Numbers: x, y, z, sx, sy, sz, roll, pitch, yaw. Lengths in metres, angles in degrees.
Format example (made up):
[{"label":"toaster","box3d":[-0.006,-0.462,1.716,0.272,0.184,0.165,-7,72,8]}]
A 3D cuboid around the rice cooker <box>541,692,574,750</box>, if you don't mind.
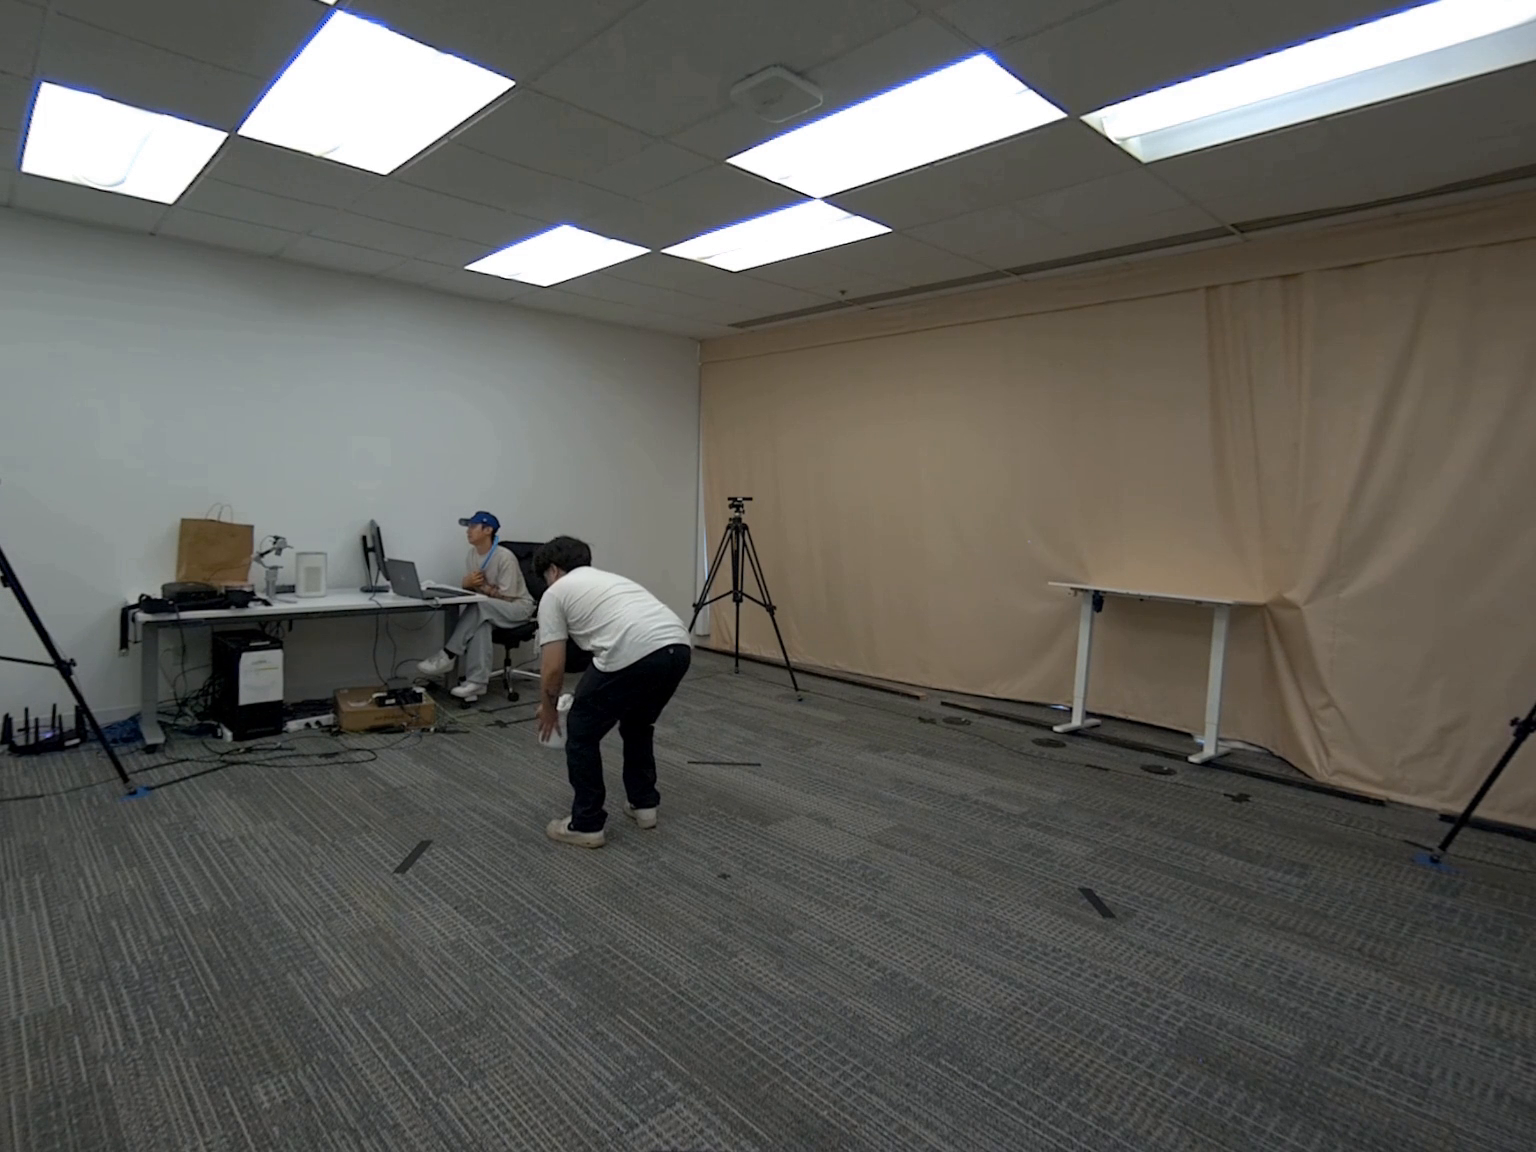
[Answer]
[{"label":"rice cooker","box3d":[-0.895,0.637,3.721,0.218,0.233,0.220,4,1,1]}]
